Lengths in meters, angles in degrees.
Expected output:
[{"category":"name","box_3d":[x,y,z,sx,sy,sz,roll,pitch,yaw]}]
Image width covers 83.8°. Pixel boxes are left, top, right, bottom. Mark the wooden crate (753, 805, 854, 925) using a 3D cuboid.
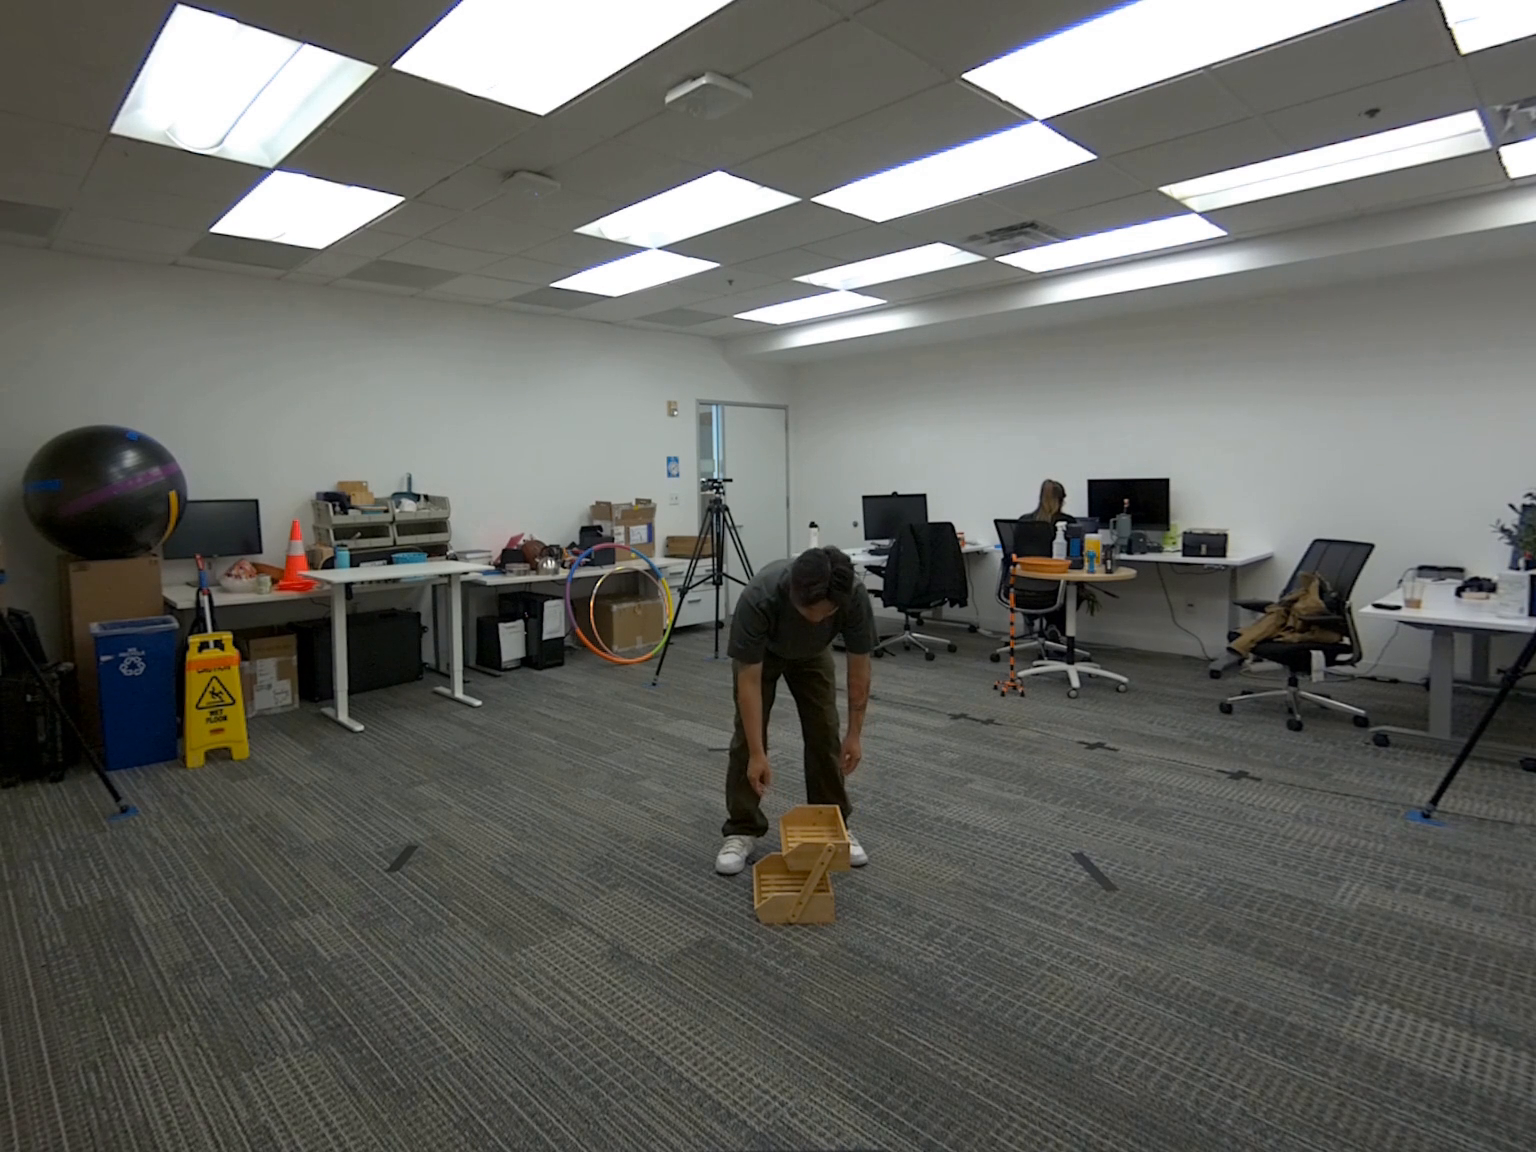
[{"category":"wooden crate","box_3d":[0.097,0.943,2.819,0.302,0.272,0.326,-1,6,-1]}]
